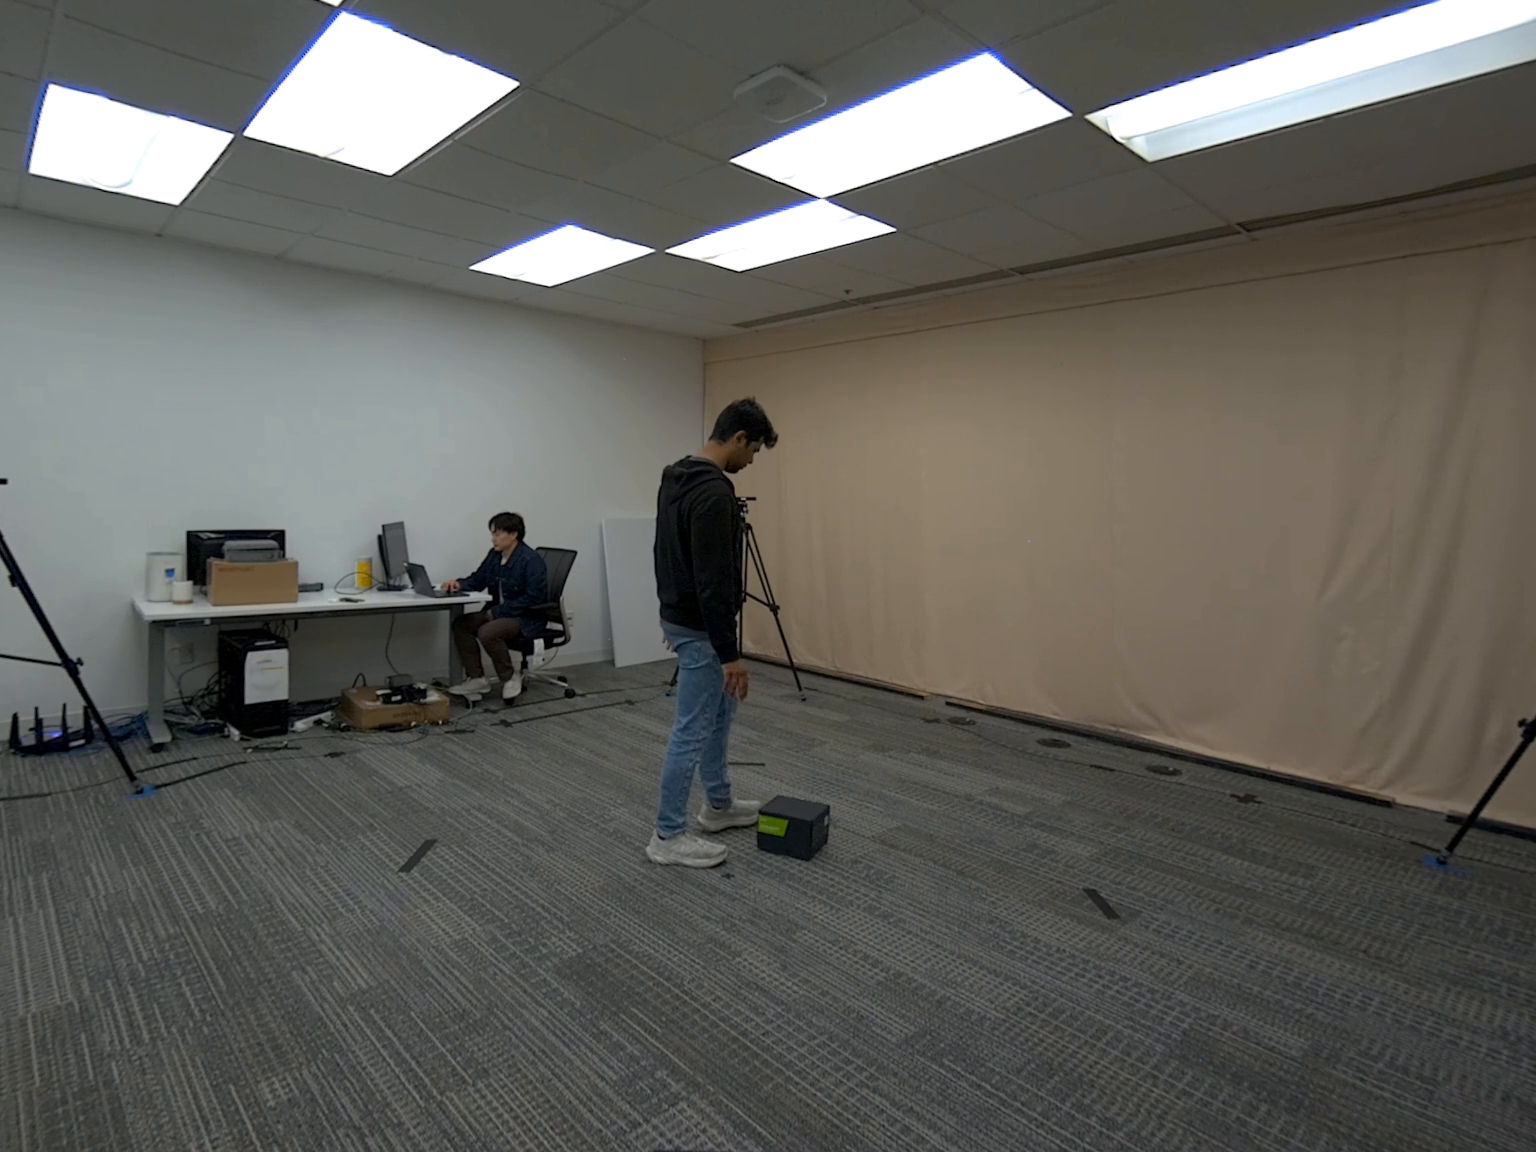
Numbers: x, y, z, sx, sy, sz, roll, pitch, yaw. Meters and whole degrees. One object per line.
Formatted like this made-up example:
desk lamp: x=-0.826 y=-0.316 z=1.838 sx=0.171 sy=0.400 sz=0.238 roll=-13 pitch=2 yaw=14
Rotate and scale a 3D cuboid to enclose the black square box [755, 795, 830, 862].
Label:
black square box: x=0.082 y=1.000 z=3.393 sx=0.232 sy=0.155 sz=0.213 roll=4 pitch=4 yaw=24
